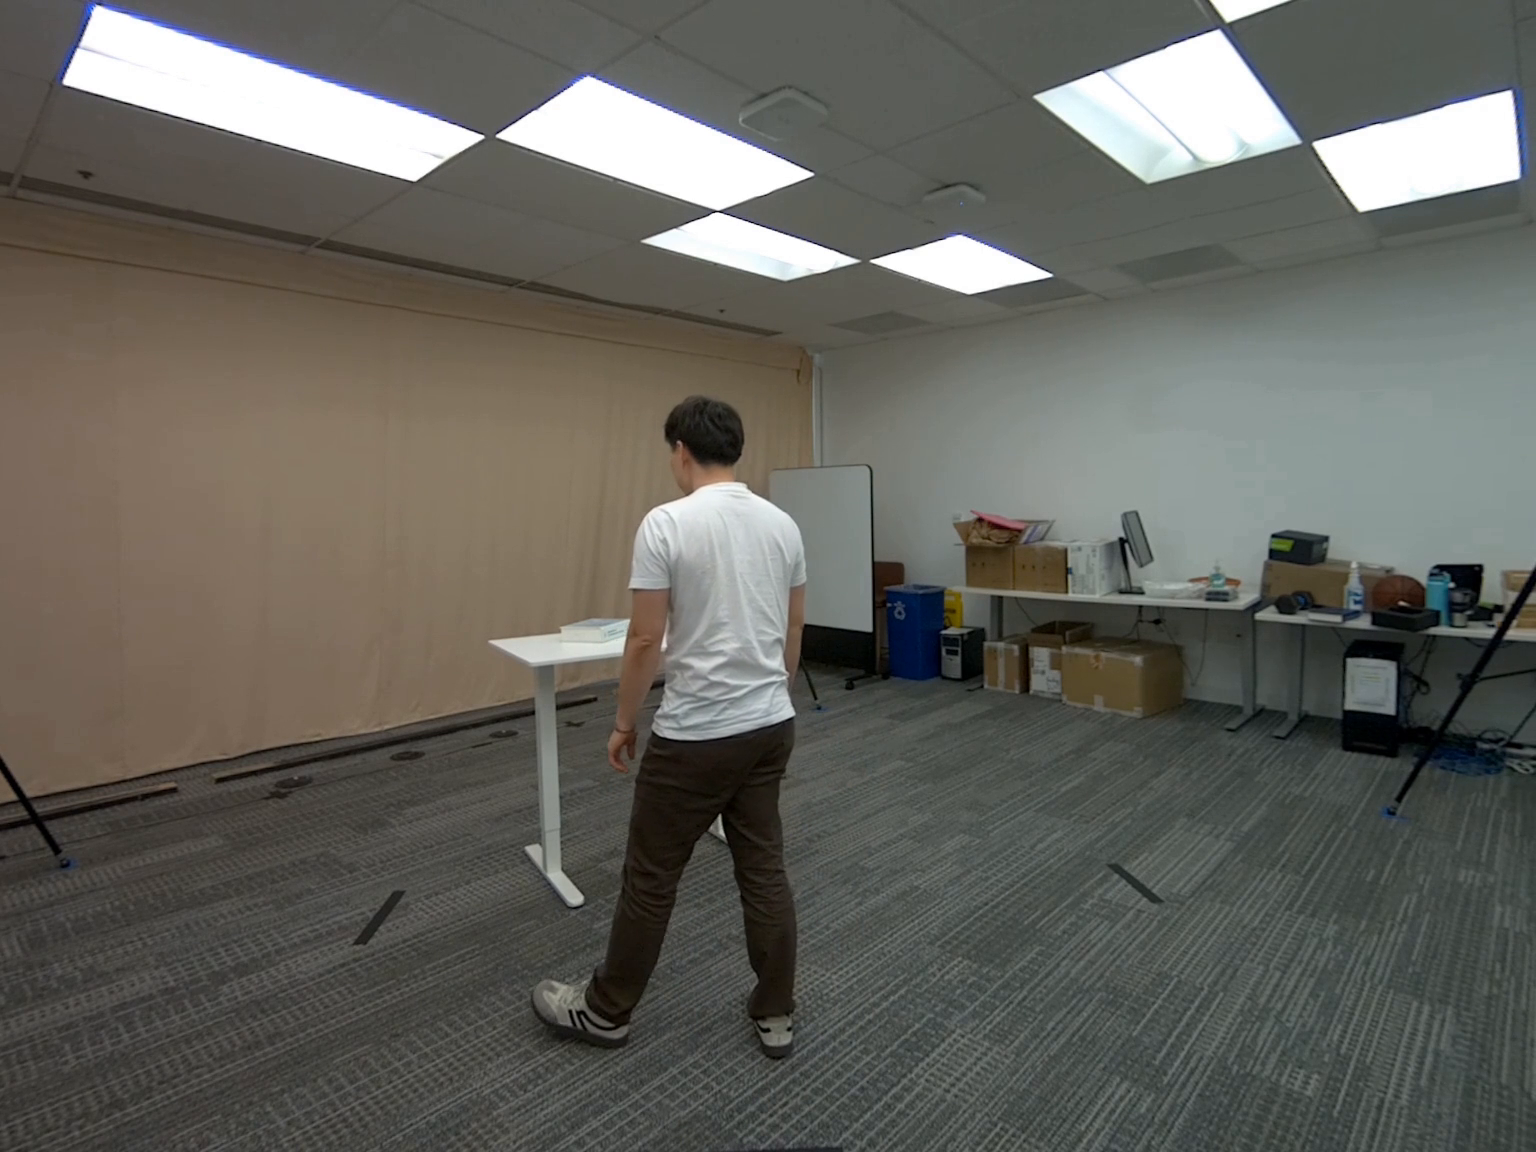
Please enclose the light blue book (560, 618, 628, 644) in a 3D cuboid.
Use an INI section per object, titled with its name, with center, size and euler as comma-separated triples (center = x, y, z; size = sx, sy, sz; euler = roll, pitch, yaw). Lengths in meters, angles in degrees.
[light blue book]
center = -0.692, 0.218, 3.346
size = 0.195, 0.059, 0.257
euler = 0, 5, 16
